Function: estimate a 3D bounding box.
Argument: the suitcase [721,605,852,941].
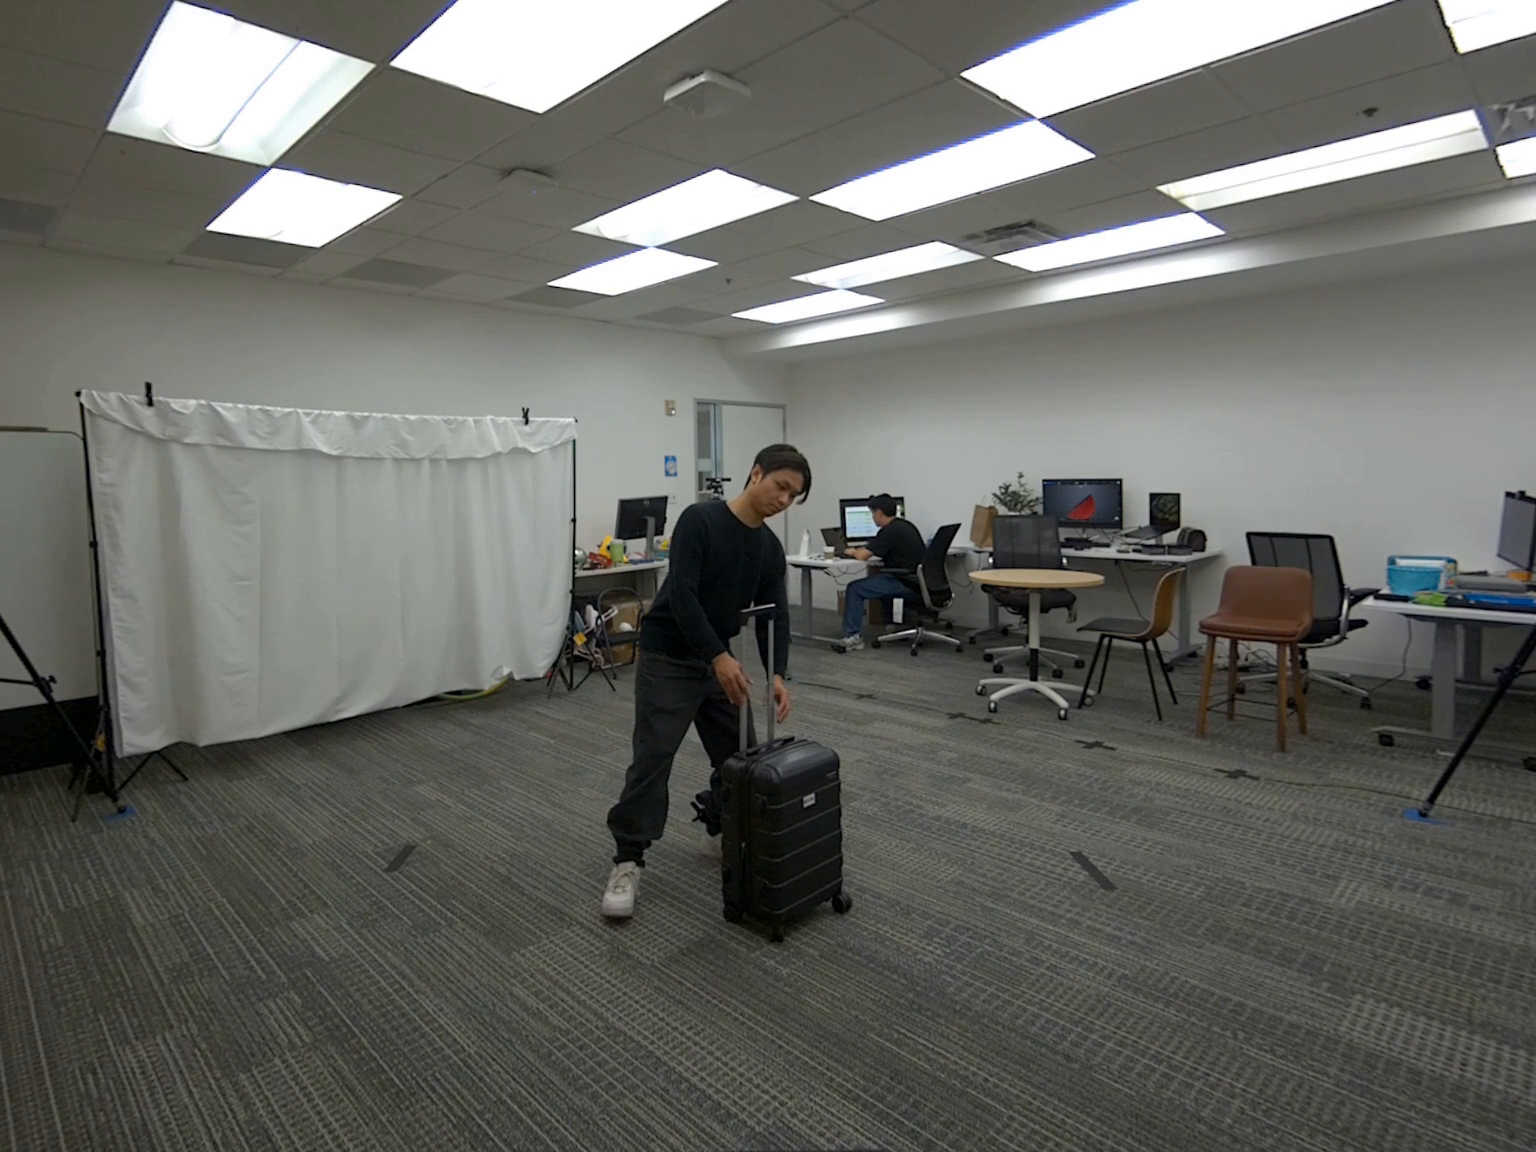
[{"bbox_3d":[0.055,0.611,2.699,0.265,0.973,0.374,7,9,44],"label":"suitcase"}]
